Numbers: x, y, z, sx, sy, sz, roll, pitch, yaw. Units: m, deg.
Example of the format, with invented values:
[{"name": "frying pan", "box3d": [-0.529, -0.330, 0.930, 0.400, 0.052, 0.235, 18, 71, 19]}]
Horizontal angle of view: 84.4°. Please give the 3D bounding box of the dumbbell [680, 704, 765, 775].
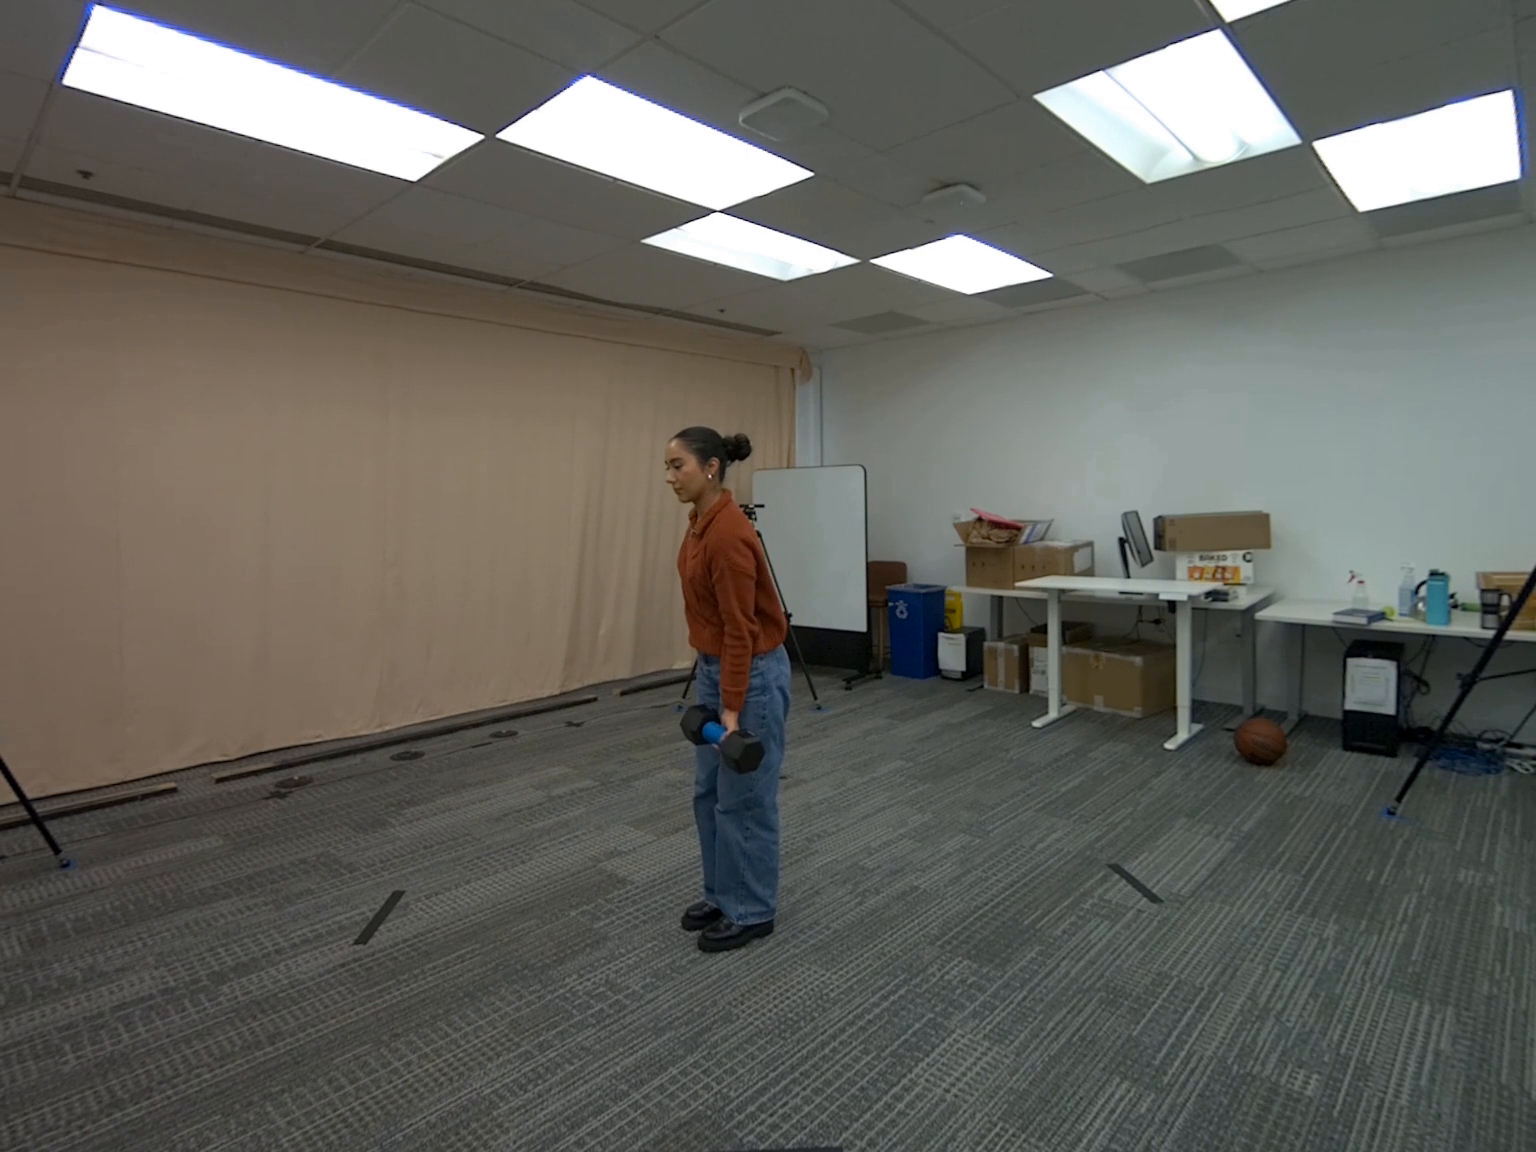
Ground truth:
[{"name": "dumbbell", "box3d": [-0.144, 0.475, 2.523, 0.304, 0.123, 0.105, 20, -14, 50]}]
